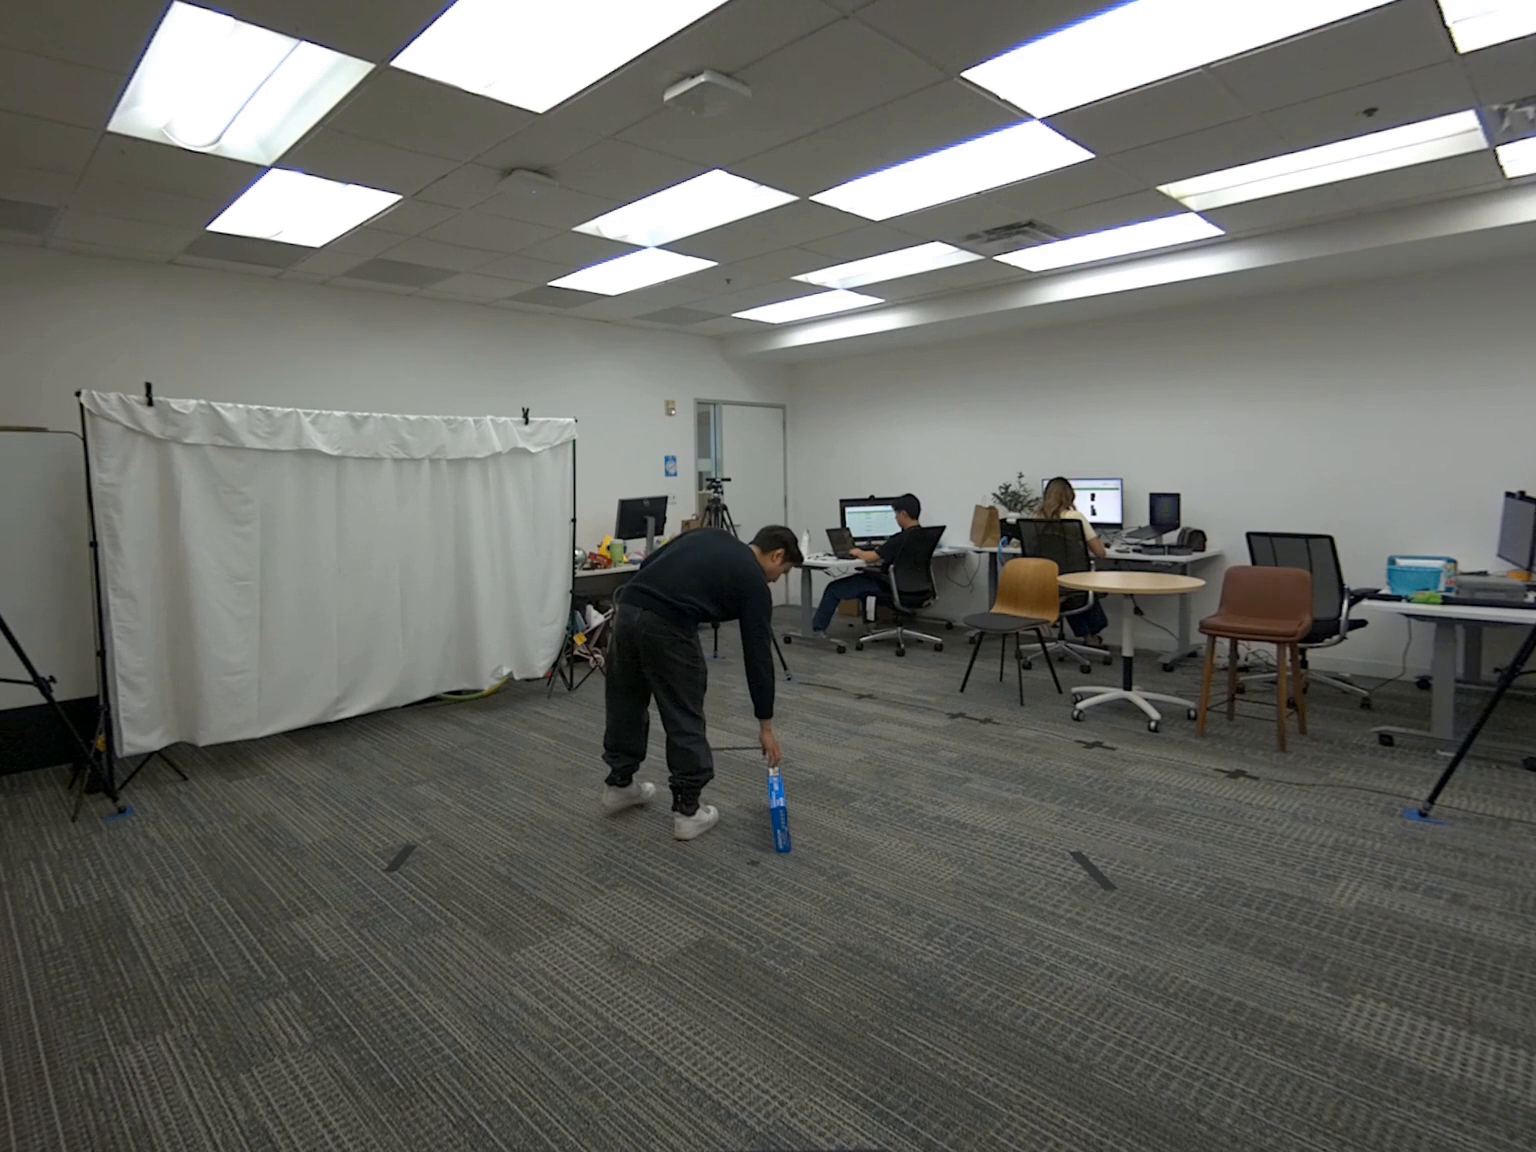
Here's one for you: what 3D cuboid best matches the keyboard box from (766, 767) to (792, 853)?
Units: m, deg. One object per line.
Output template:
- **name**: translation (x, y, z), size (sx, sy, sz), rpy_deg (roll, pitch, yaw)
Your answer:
- **keyboard box**: translation (0.042, 0.914, 3.398), size (0.059, 0.175, 0.439), rpy_deg (-7, 6, -1)
